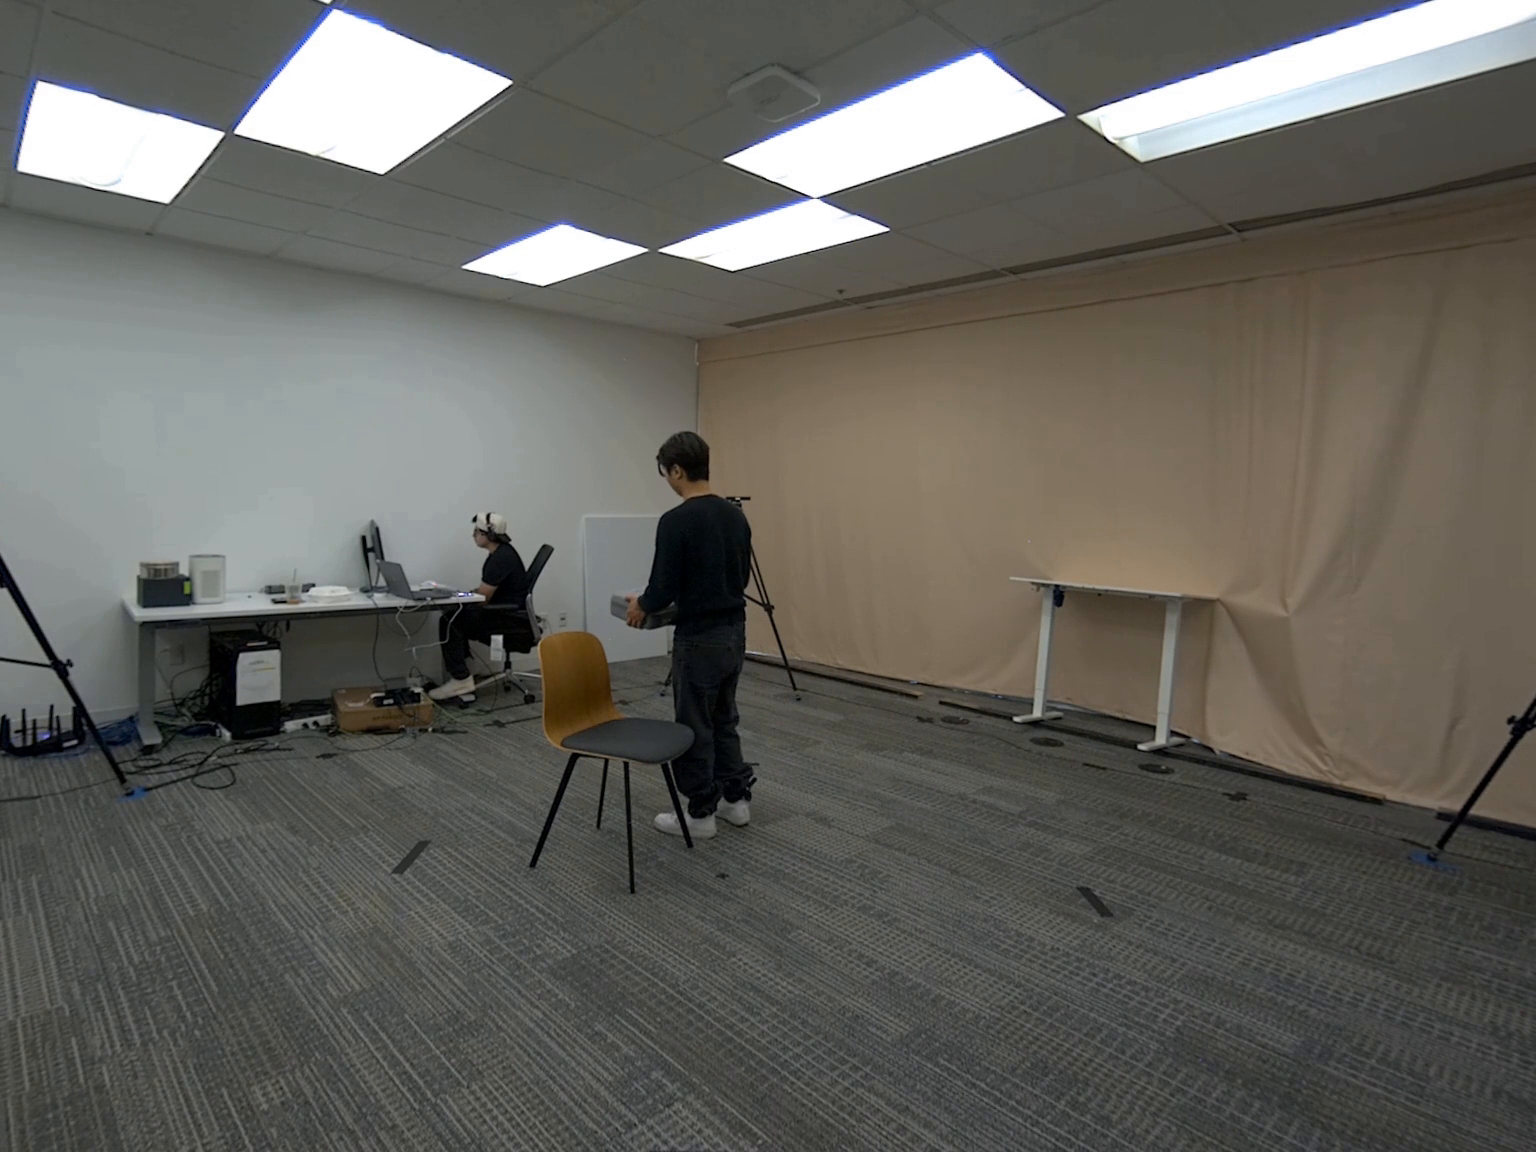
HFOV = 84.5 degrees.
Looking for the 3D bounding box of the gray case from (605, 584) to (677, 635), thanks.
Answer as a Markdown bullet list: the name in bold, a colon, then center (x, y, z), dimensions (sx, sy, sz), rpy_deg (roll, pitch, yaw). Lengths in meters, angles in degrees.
- **gray case**: center (-0.515, 0.139, 3.665), dimensions (0.267, 0.103, 0.252), rpy_deg (18, 16, 30)
